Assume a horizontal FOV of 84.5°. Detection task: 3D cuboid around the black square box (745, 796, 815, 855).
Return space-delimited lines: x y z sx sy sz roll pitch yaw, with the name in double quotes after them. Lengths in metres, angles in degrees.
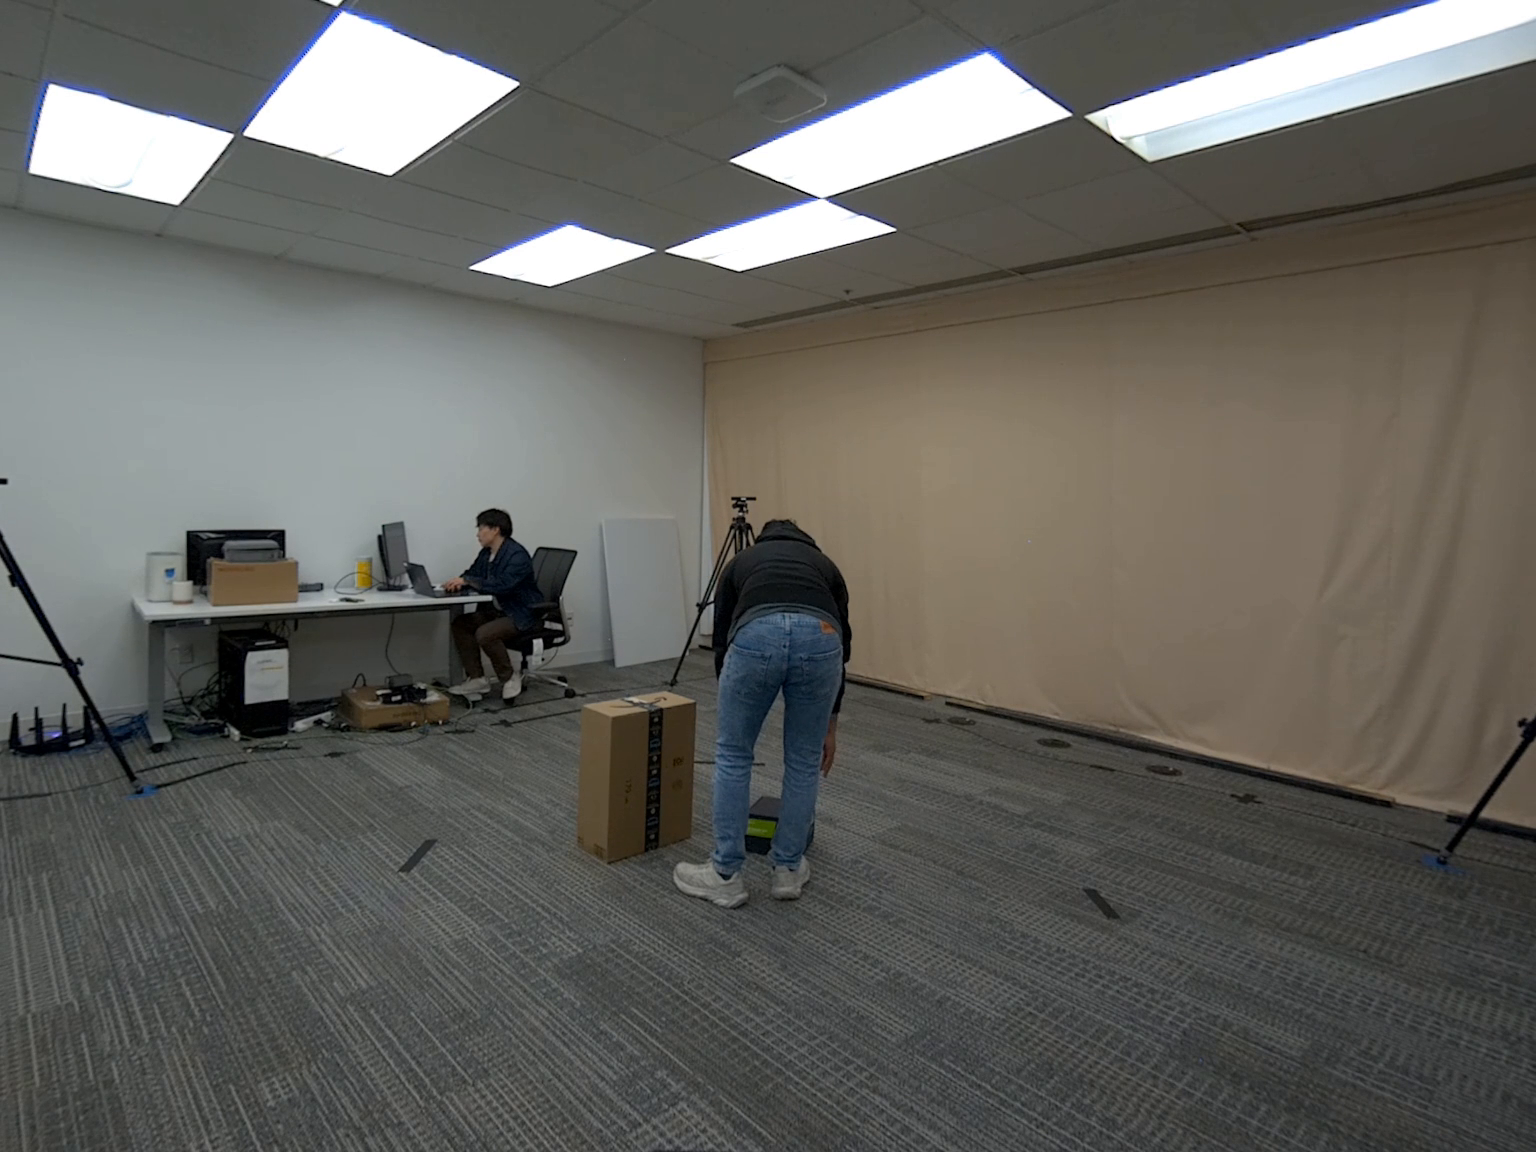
0.039 1.010 3.395 0.231 0.155 0.214 4 5 18 "black square box"
